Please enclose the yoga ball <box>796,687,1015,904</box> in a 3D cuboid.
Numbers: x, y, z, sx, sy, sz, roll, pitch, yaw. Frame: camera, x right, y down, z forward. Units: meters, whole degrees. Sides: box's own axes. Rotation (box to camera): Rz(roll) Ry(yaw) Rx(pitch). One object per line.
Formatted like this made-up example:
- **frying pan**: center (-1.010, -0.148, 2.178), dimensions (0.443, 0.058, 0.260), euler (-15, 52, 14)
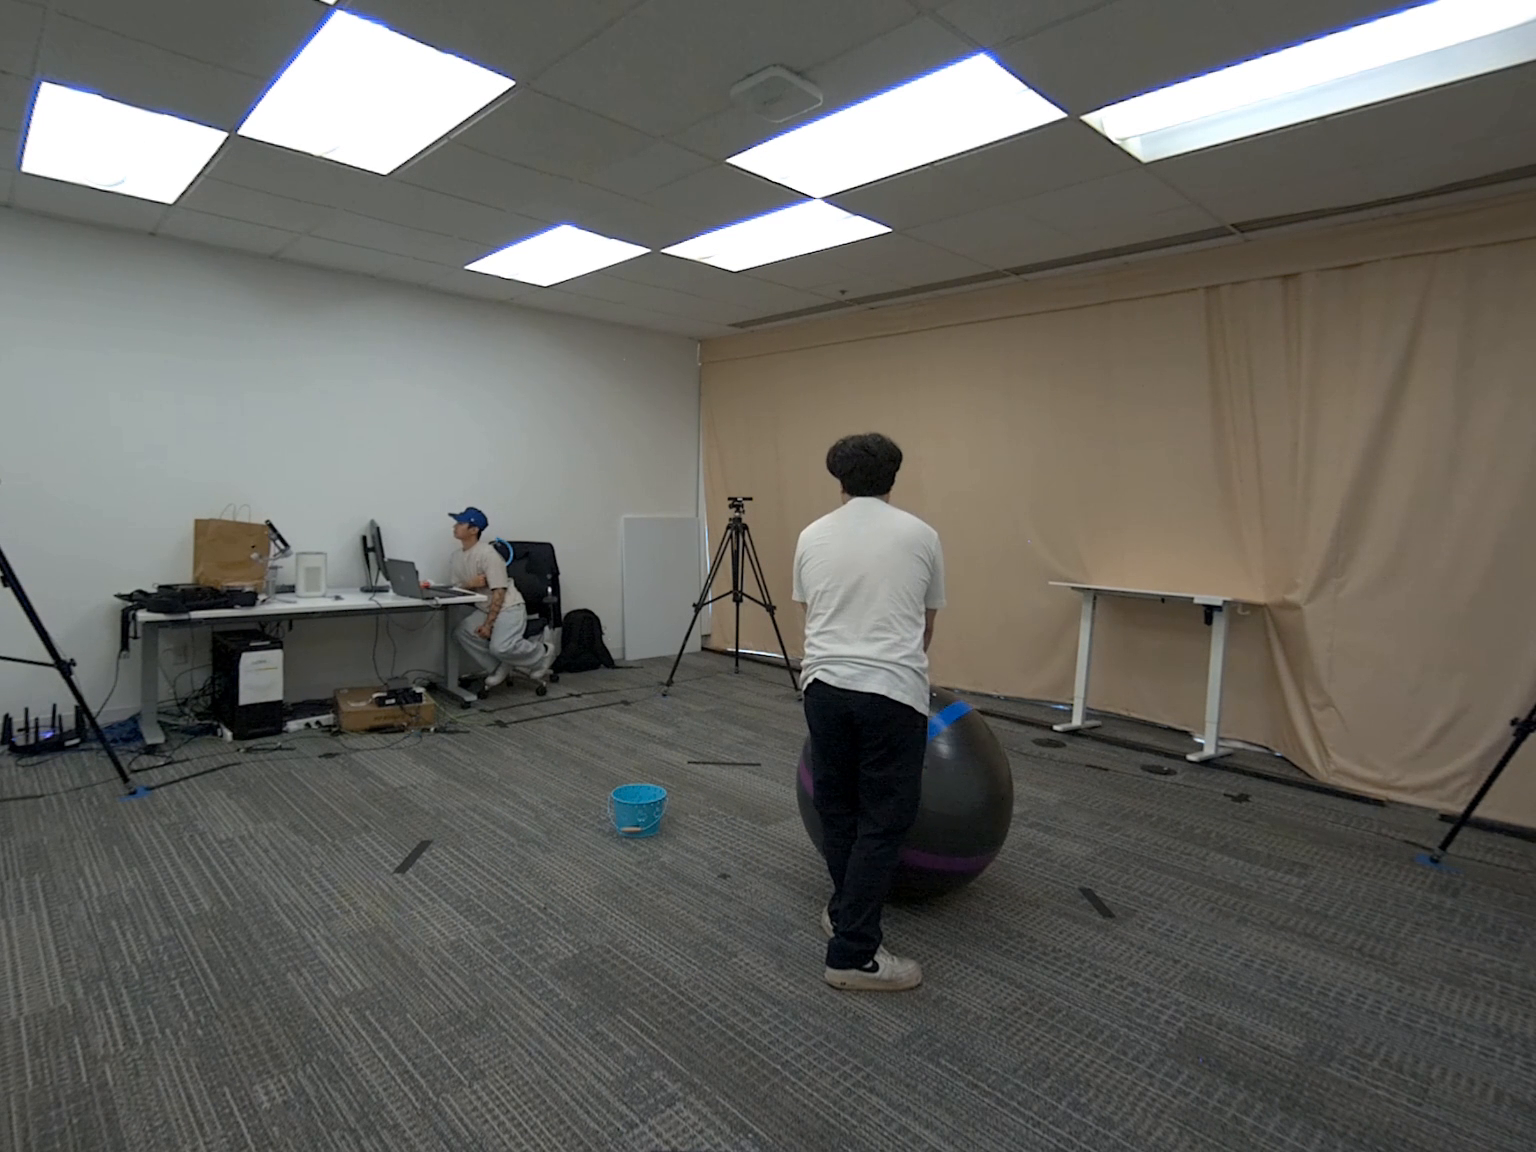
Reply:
- **yoga ball**: center (0.492, 0.766, 3.033), dimensions (0.757, 0.756, 0.761), euler (1, 4, -1)
